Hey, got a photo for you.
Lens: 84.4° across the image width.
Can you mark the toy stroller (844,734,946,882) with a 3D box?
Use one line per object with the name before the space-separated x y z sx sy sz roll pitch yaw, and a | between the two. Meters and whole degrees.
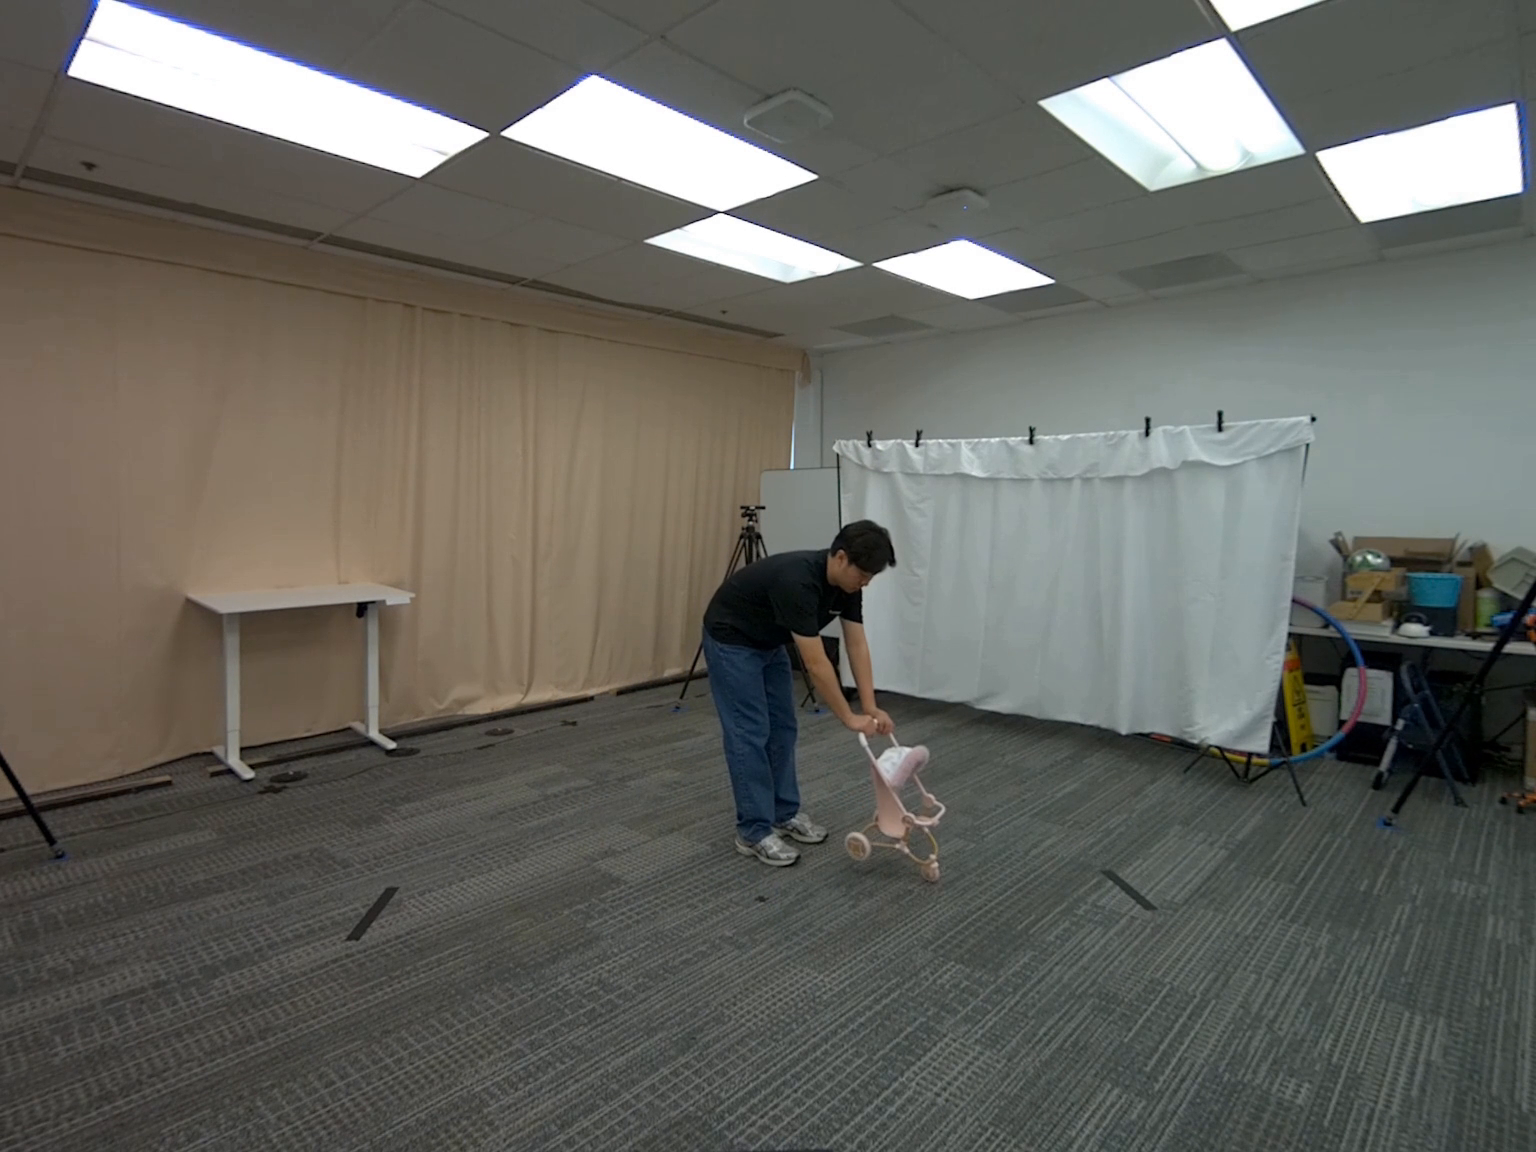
toy stroller | 0.499 0.853 3.154 0.353 0.532 0.273 10 12 38
